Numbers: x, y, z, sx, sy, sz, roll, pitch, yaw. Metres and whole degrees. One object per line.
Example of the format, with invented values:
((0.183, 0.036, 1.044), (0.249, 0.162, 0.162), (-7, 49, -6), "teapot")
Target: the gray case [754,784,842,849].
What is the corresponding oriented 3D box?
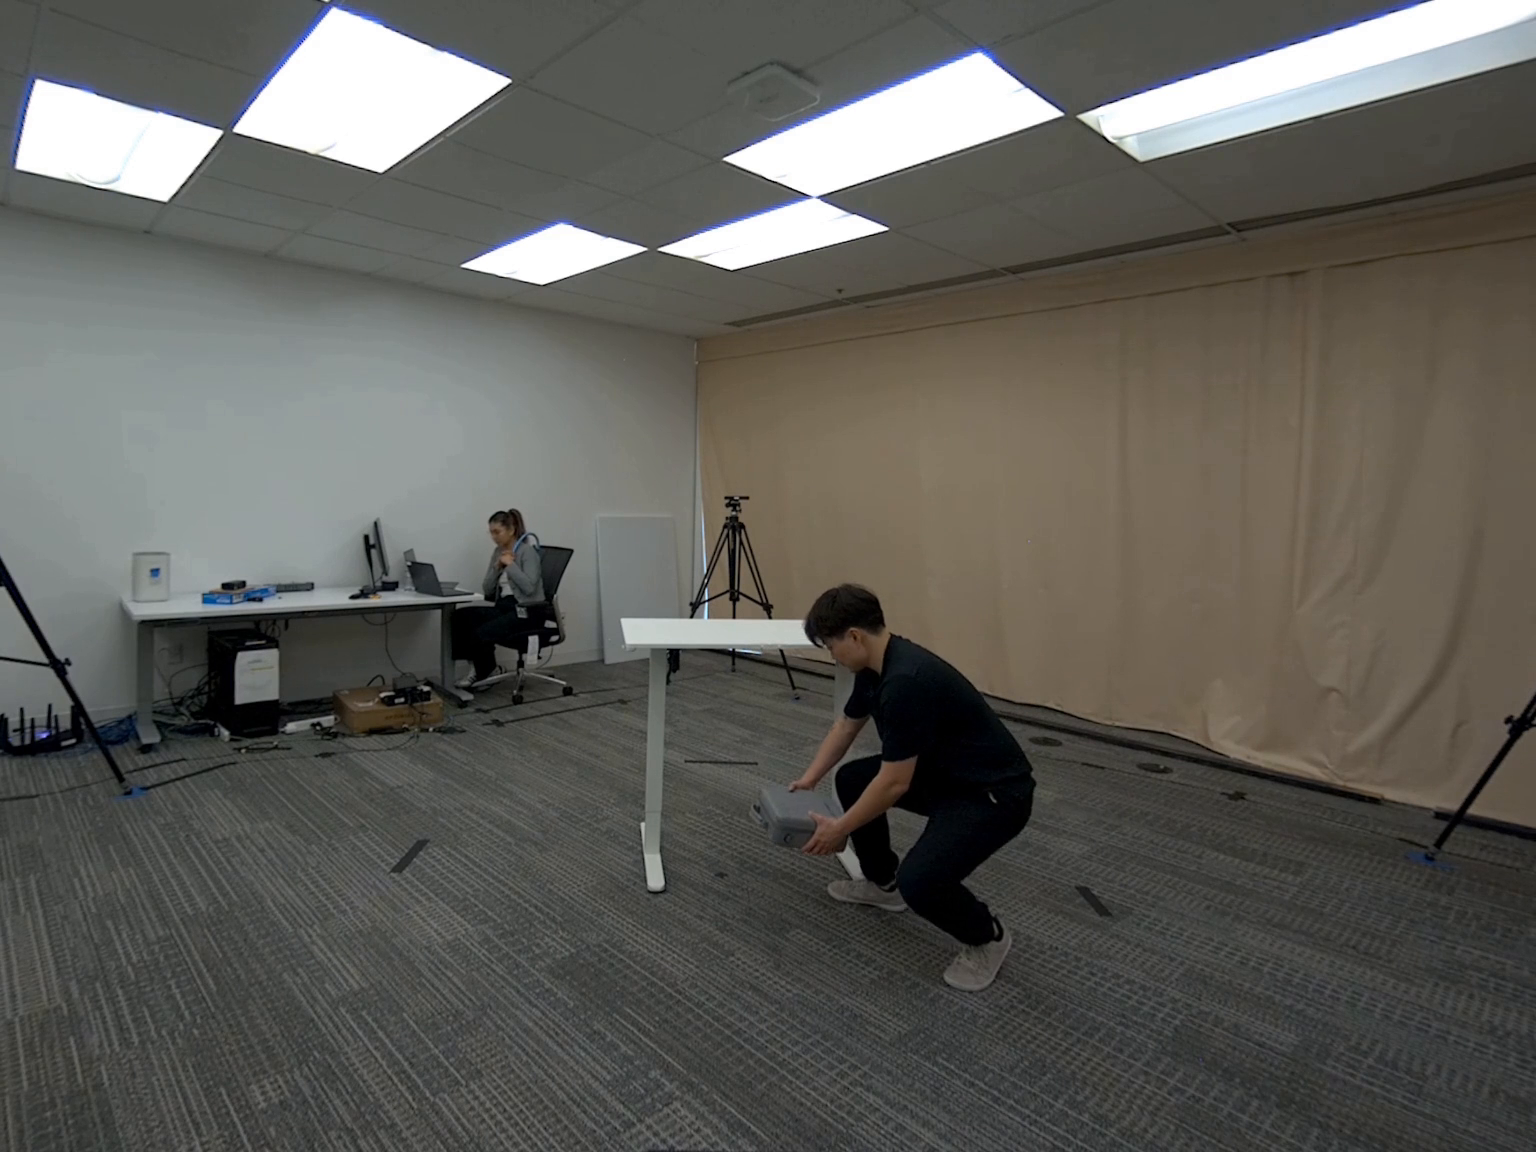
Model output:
((0.105, 0.773, 2.684), (0.259, 0.104, 0.259), (11, 7, -8), "gray case")
